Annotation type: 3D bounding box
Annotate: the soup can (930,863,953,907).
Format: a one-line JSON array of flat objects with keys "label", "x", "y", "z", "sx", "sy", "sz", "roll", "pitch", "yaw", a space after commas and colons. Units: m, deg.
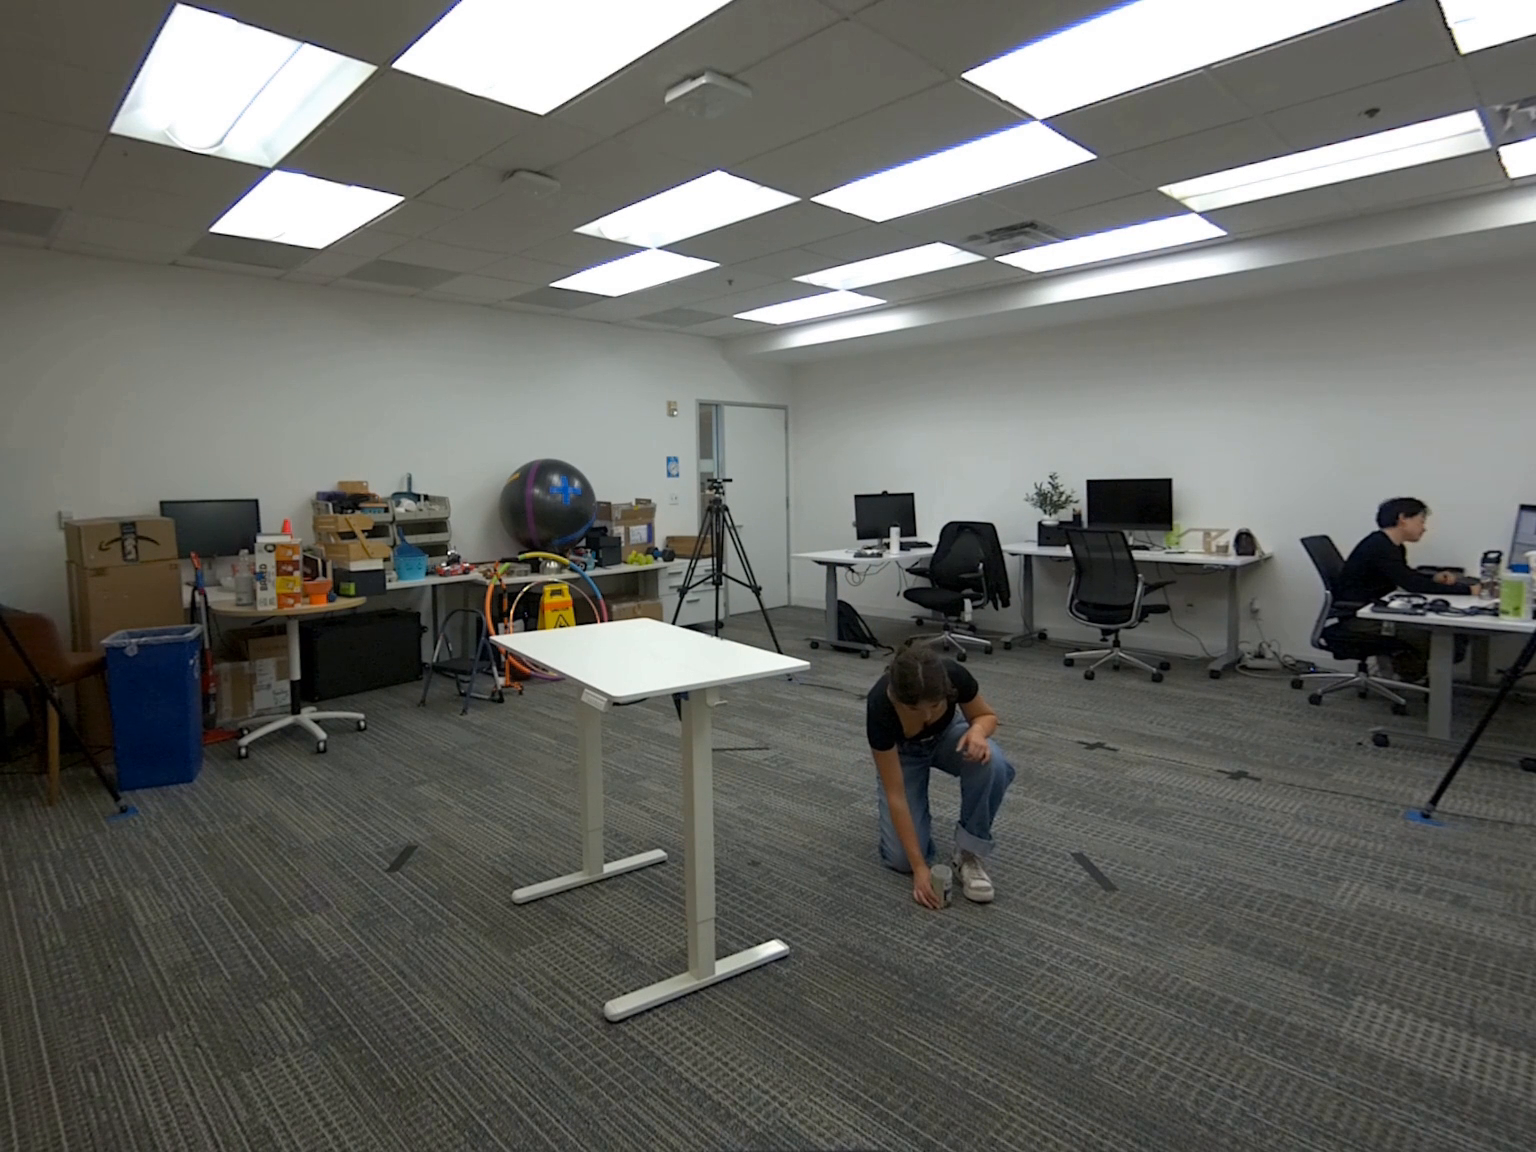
[{"label": "soup can", "x": 0.553, "y": 1.009, "z": 2.775, "sx": 0.067, "sy": 0.120, "sz": 0.068, "roll": -2, "pitch": 9, "yaw": -1}]
